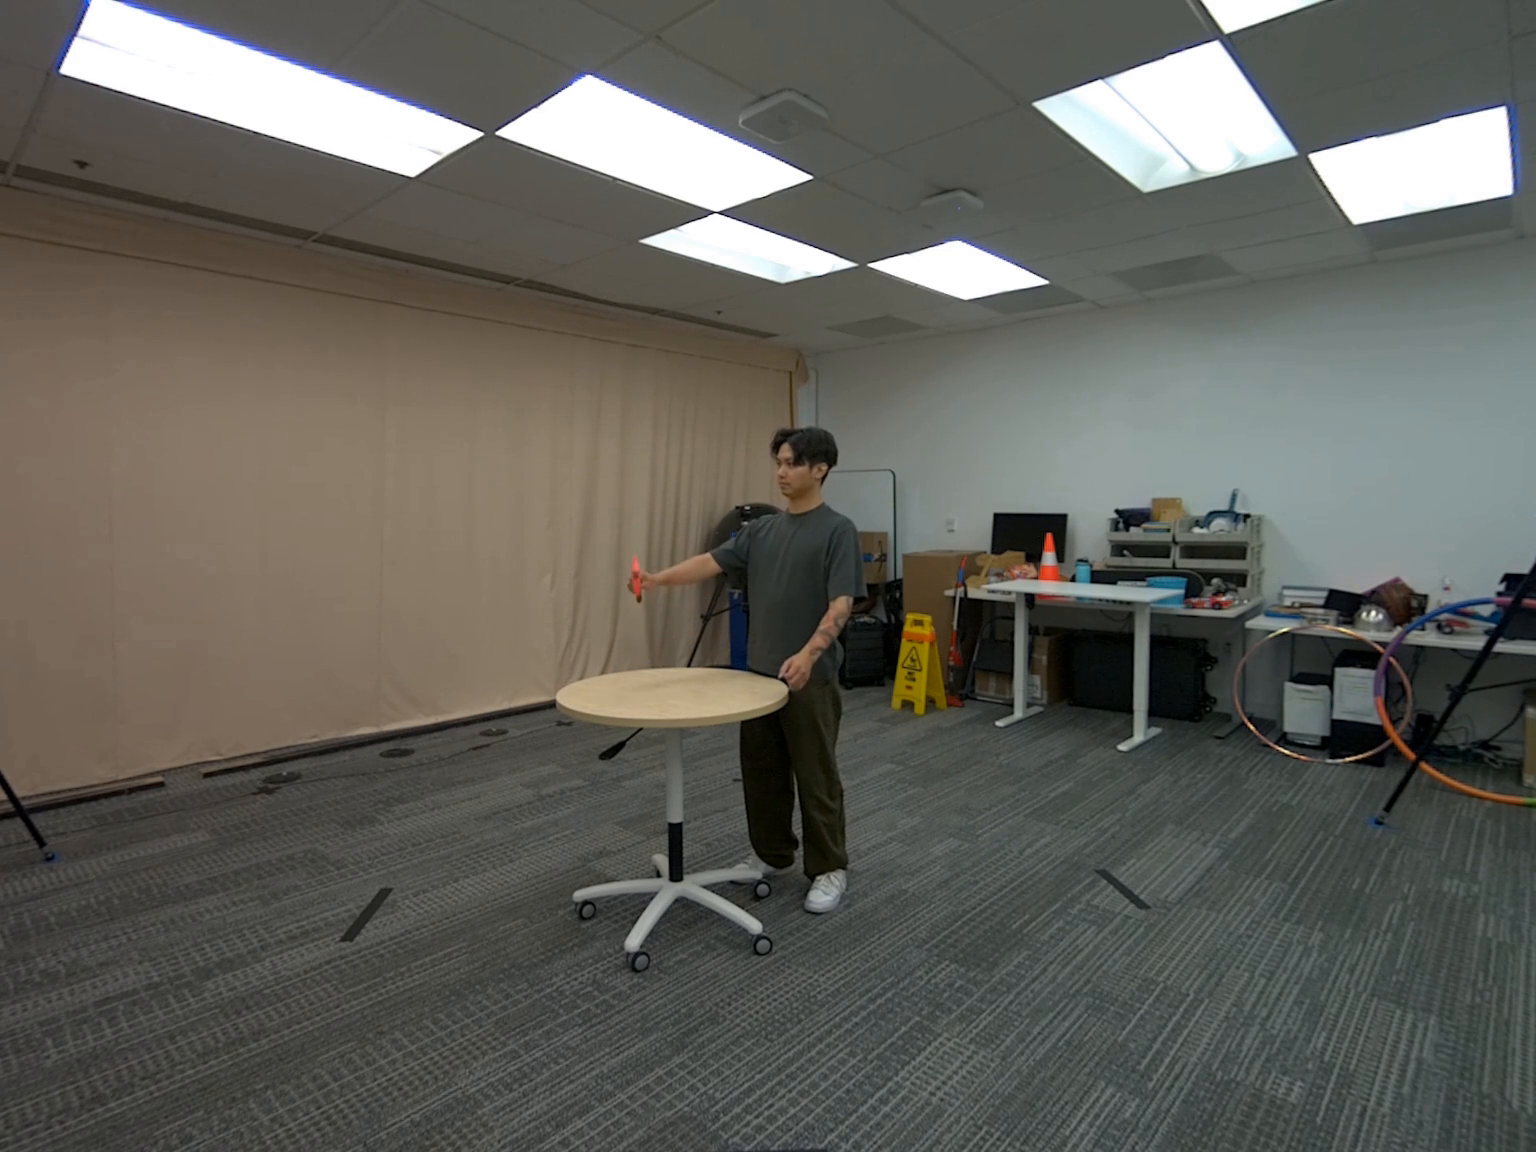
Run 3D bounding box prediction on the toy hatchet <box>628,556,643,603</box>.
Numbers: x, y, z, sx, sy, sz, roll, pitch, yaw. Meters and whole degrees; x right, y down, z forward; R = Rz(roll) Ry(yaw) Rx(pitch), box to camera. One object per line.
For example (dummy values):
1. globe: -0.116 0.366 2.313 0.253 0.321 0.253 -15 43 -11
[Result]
1. toy hatchet: -0.434 0.049 2.845 0.029 0.133 0.265 -4 -30 -3
